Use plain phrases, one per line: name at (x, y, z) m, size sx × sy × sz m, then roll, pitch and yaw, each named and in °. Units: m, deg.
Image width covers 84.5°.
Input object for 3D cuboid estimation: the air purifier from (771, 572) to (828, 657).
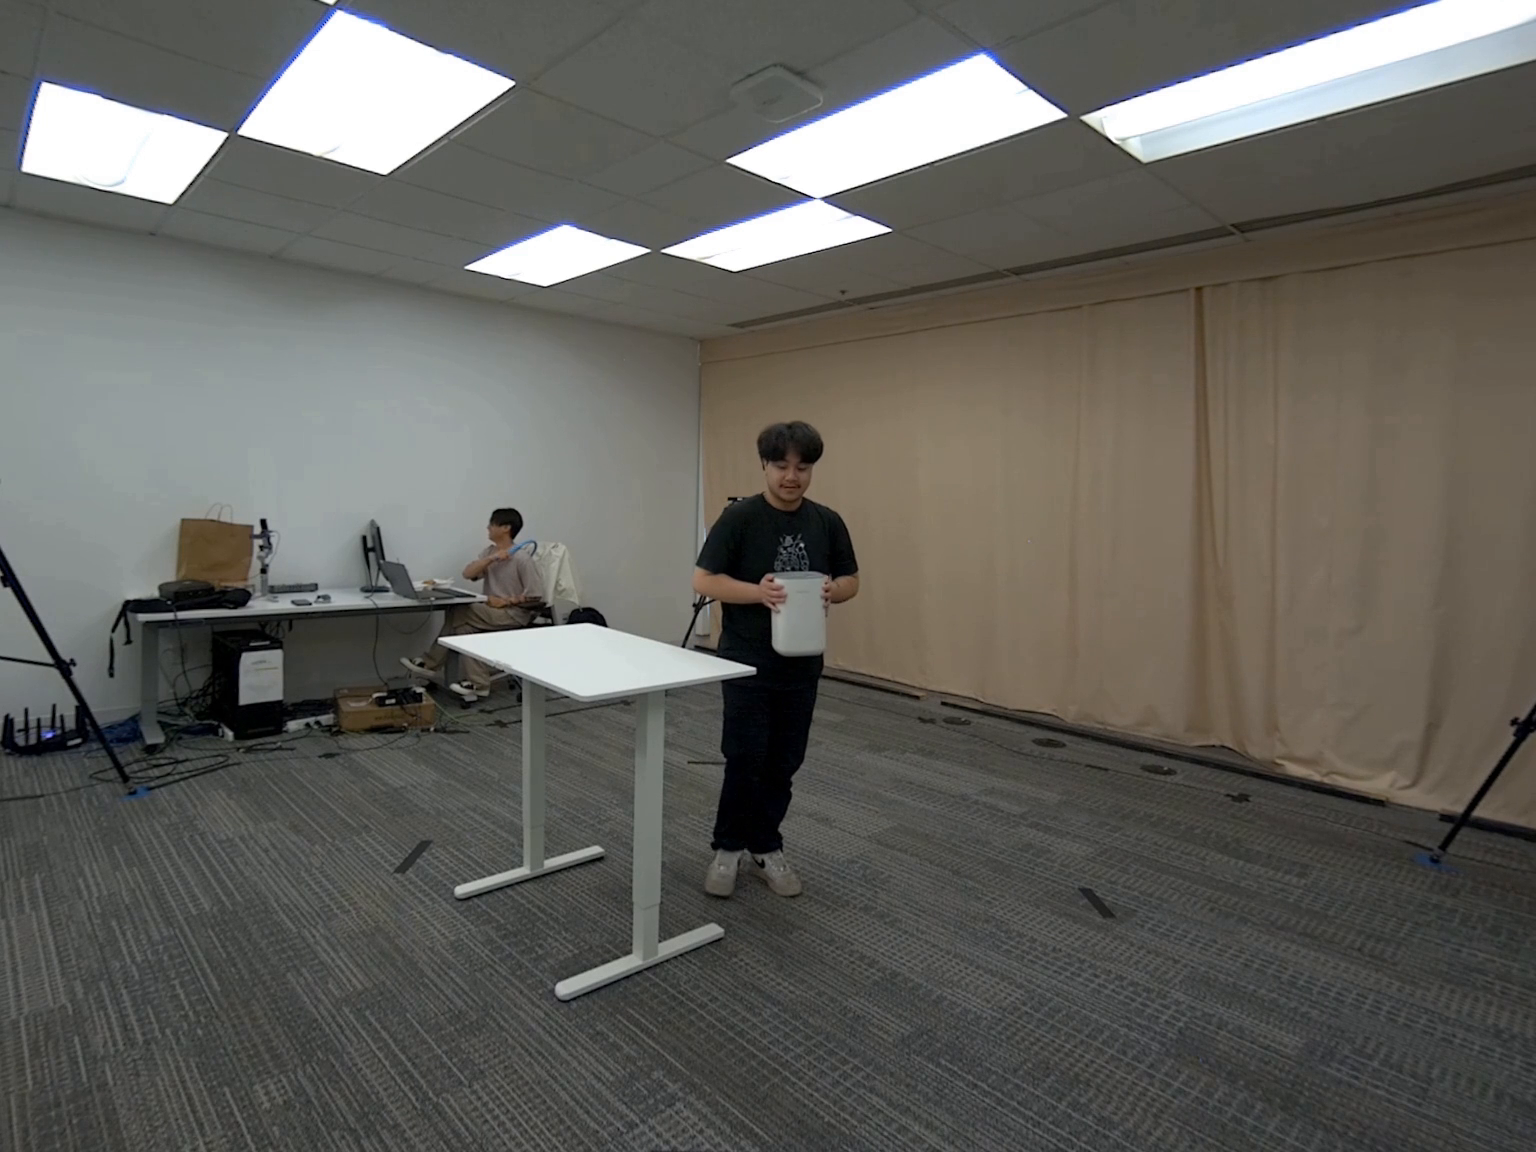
air purifier at (0.085, 0.129, 2.822) m, size 0.170 × 0.264 × 0.173 m, roll 1°, pitch 6°, yaw -4°
